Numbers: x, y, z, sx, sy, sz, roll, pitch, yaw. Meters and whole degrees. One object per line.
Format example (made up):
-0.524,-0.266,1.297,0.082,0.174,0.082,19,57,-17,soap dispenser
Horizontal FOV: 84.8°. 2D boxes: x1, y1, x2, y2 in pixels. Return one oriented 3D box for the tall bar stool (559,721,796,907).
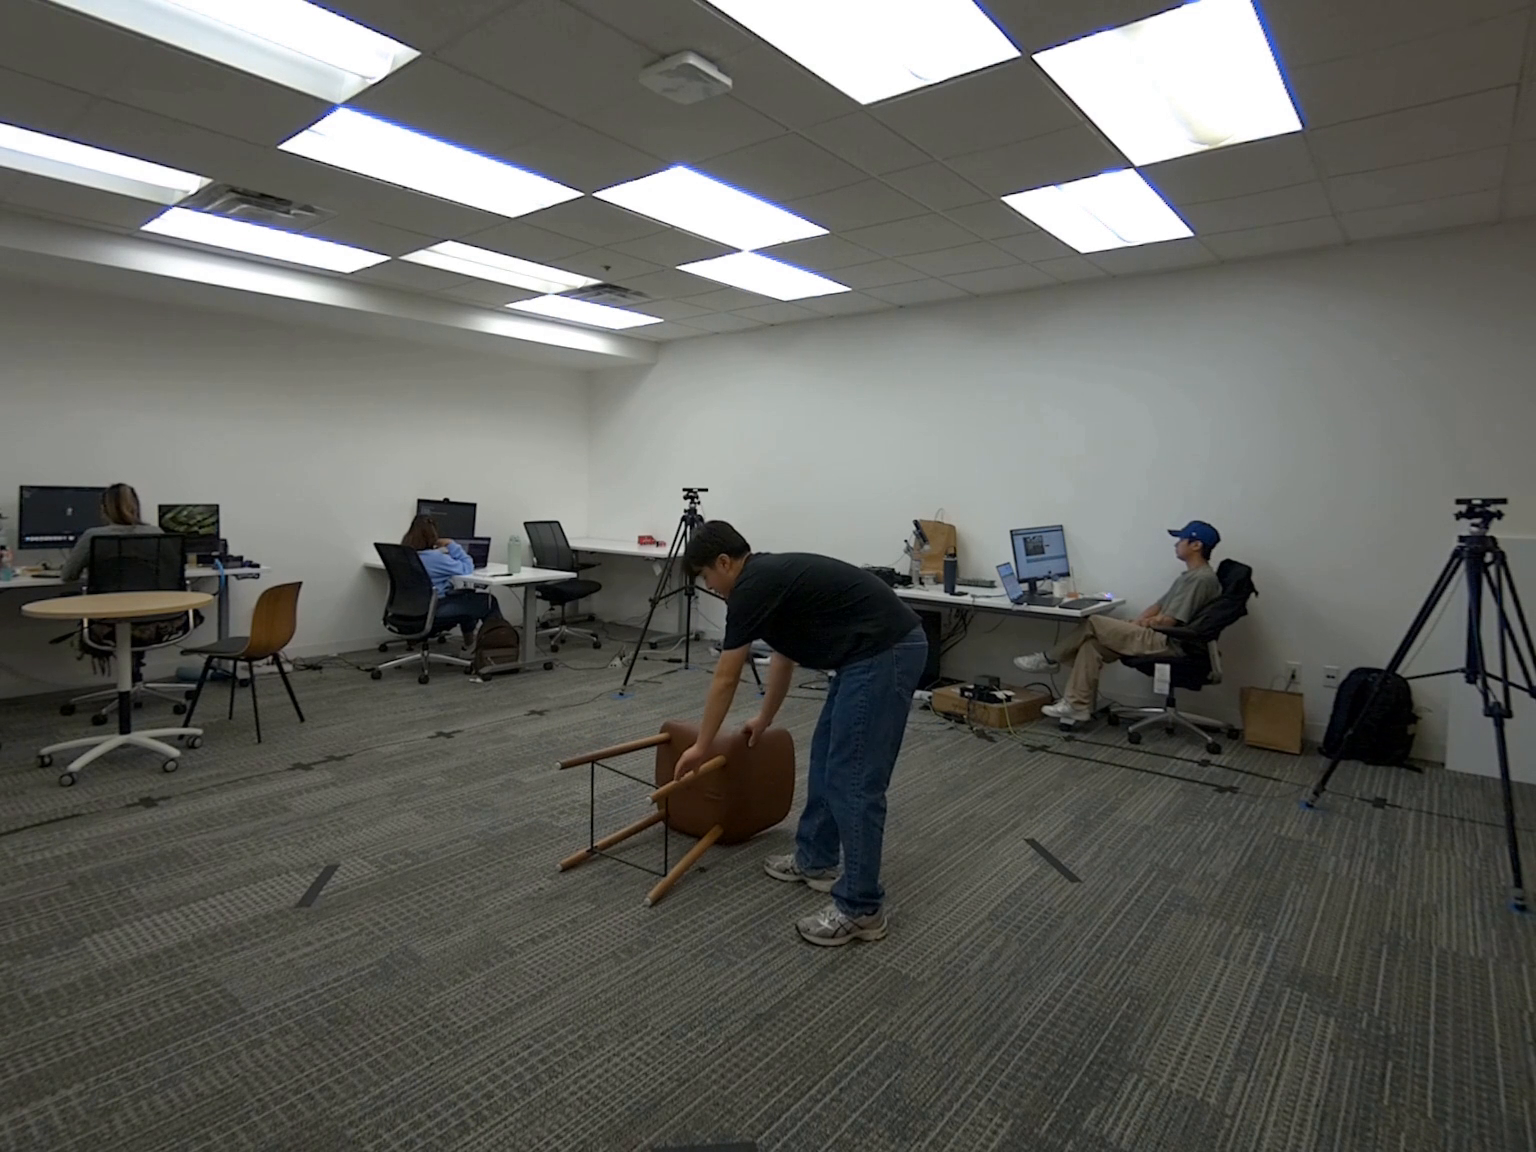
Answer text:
-0.340,0.832,3.271,0.483,0.454,0.866,5,9,35,tall bar stool
